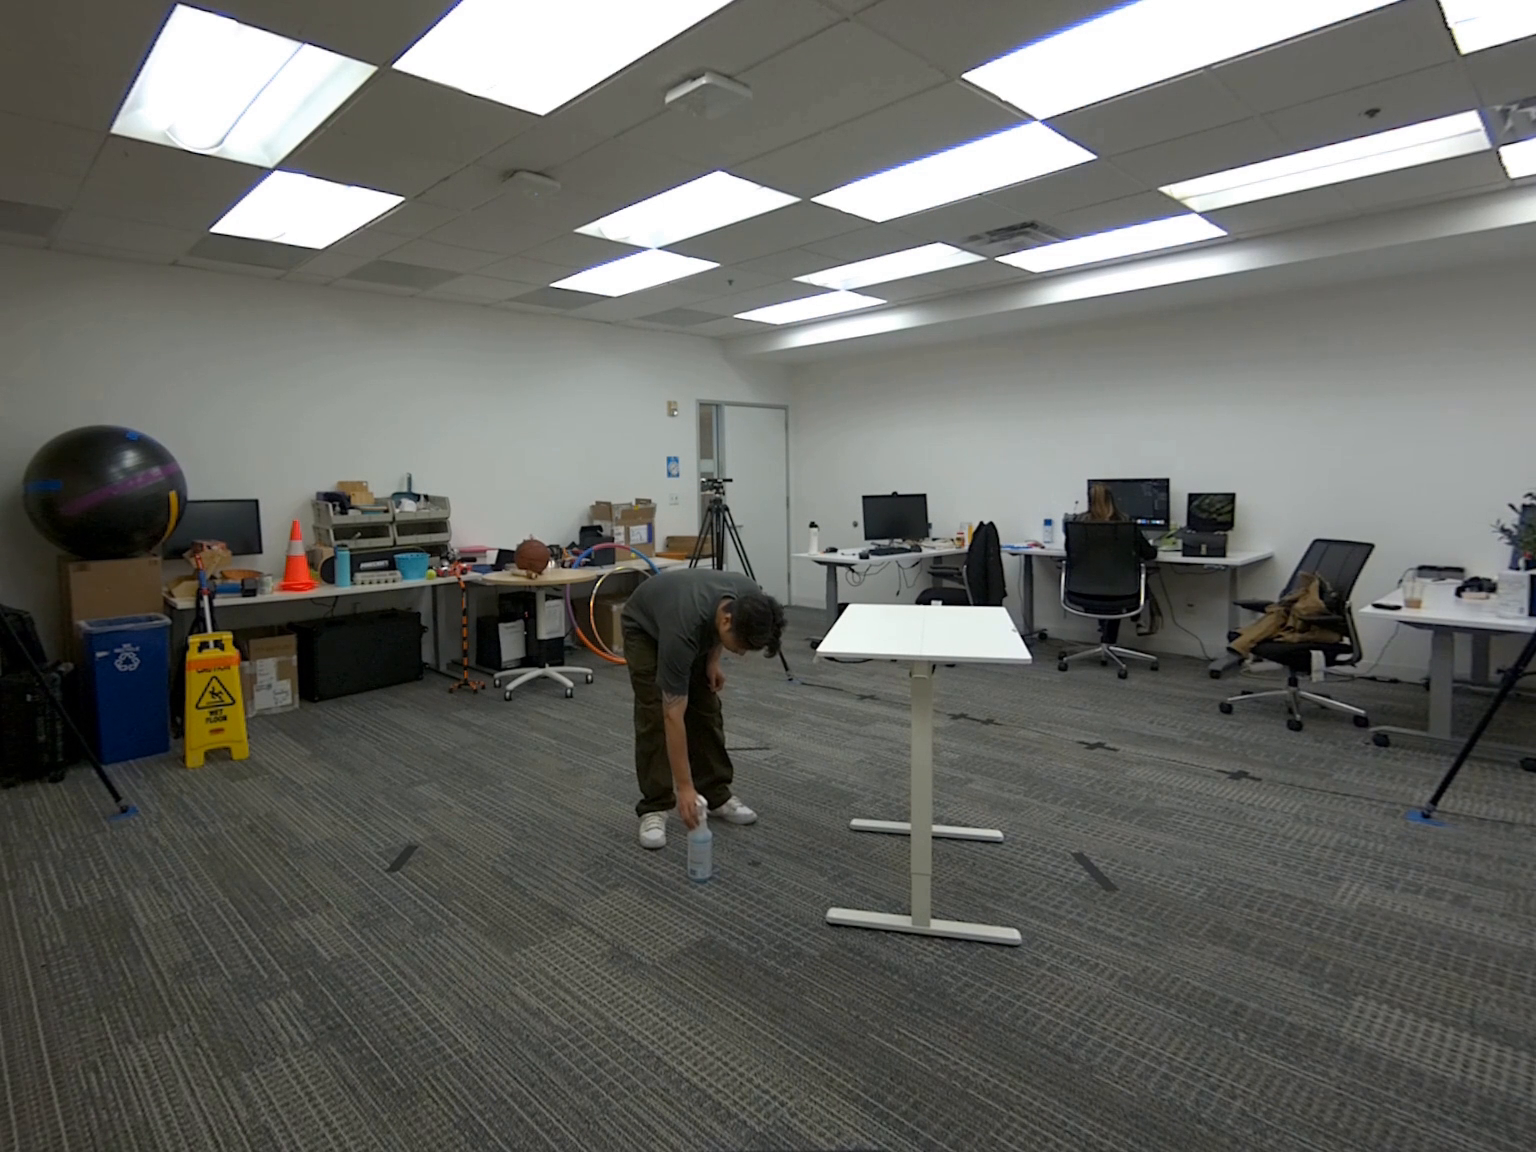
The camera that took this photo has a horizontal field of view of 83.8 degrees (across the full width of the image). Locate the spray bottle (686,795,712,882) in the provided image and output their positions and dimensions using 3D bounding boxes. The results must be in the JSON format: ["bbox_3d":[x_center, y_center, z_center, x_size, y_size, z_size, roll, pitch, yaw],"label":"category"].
[{"bbox_3d":[-0.238,0.919,2.989,0.087,0.295,0.090,3,8,4],"label":"spray bottle"}]
